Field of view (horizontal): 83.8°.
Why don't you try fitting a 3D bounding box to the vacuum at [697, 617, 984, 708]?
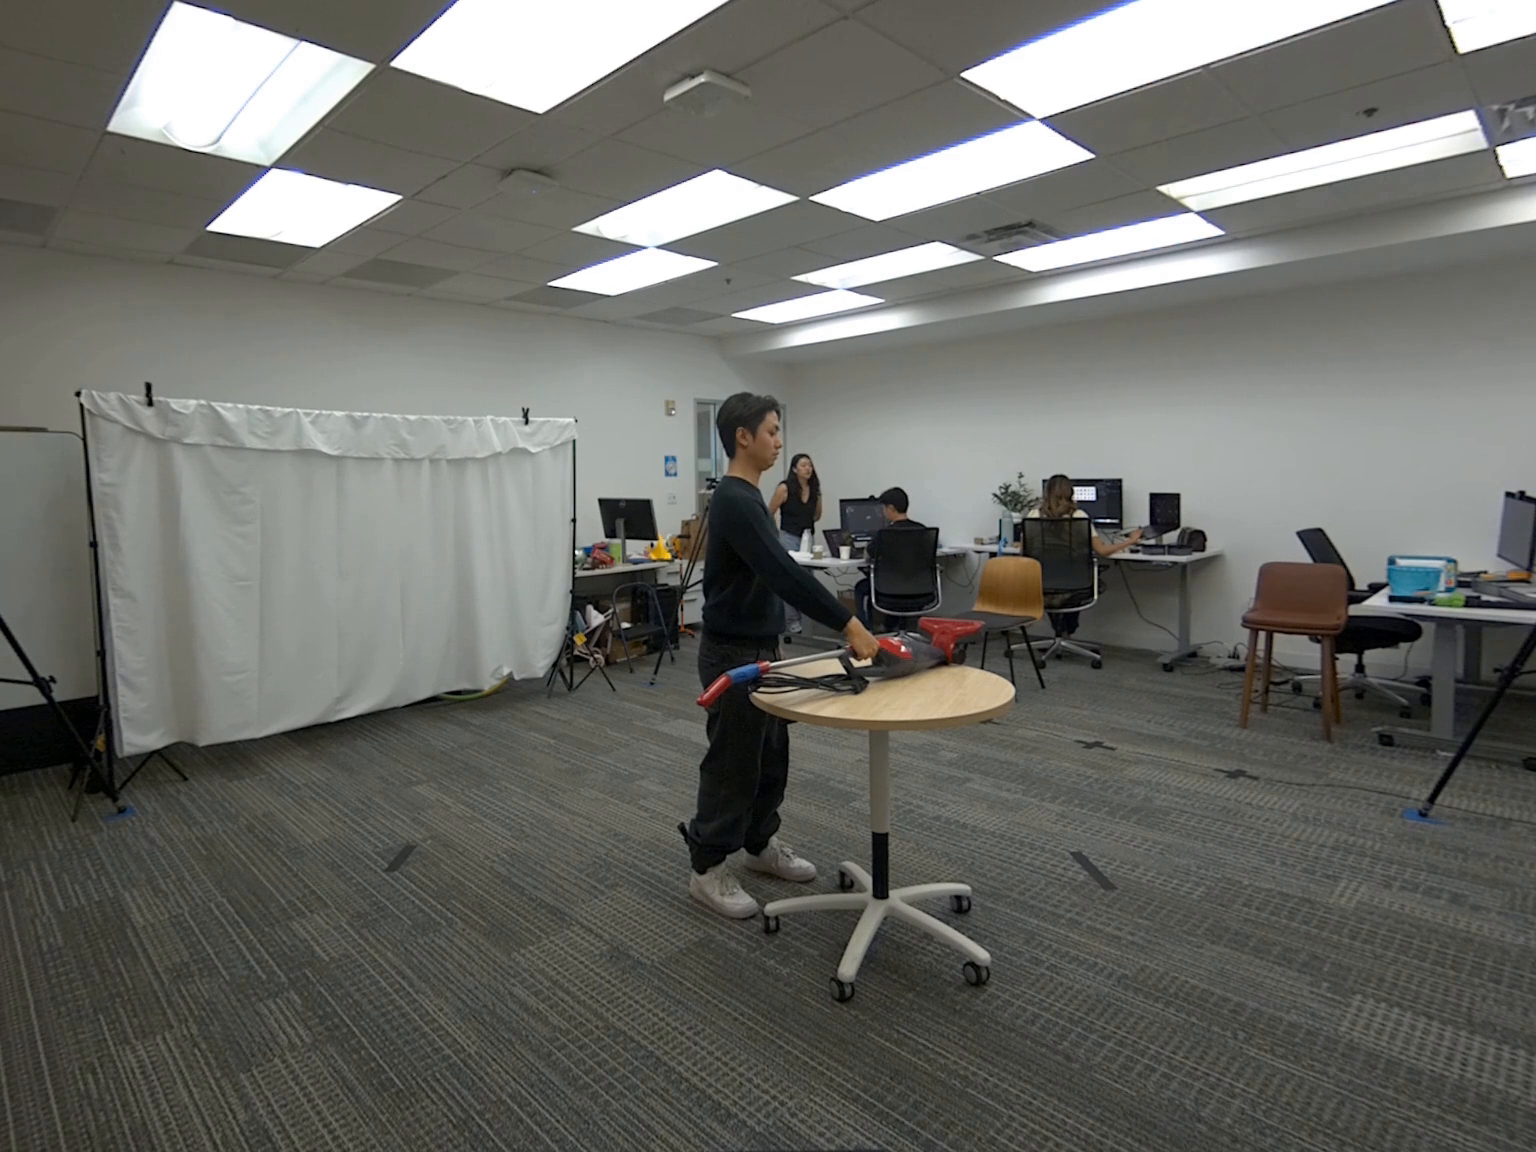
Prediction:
[{"bbox_3d":[0.215,0.274,2.466,1.023,0.143,0.260,-8,7,-40],"label":"vacuum"}]
